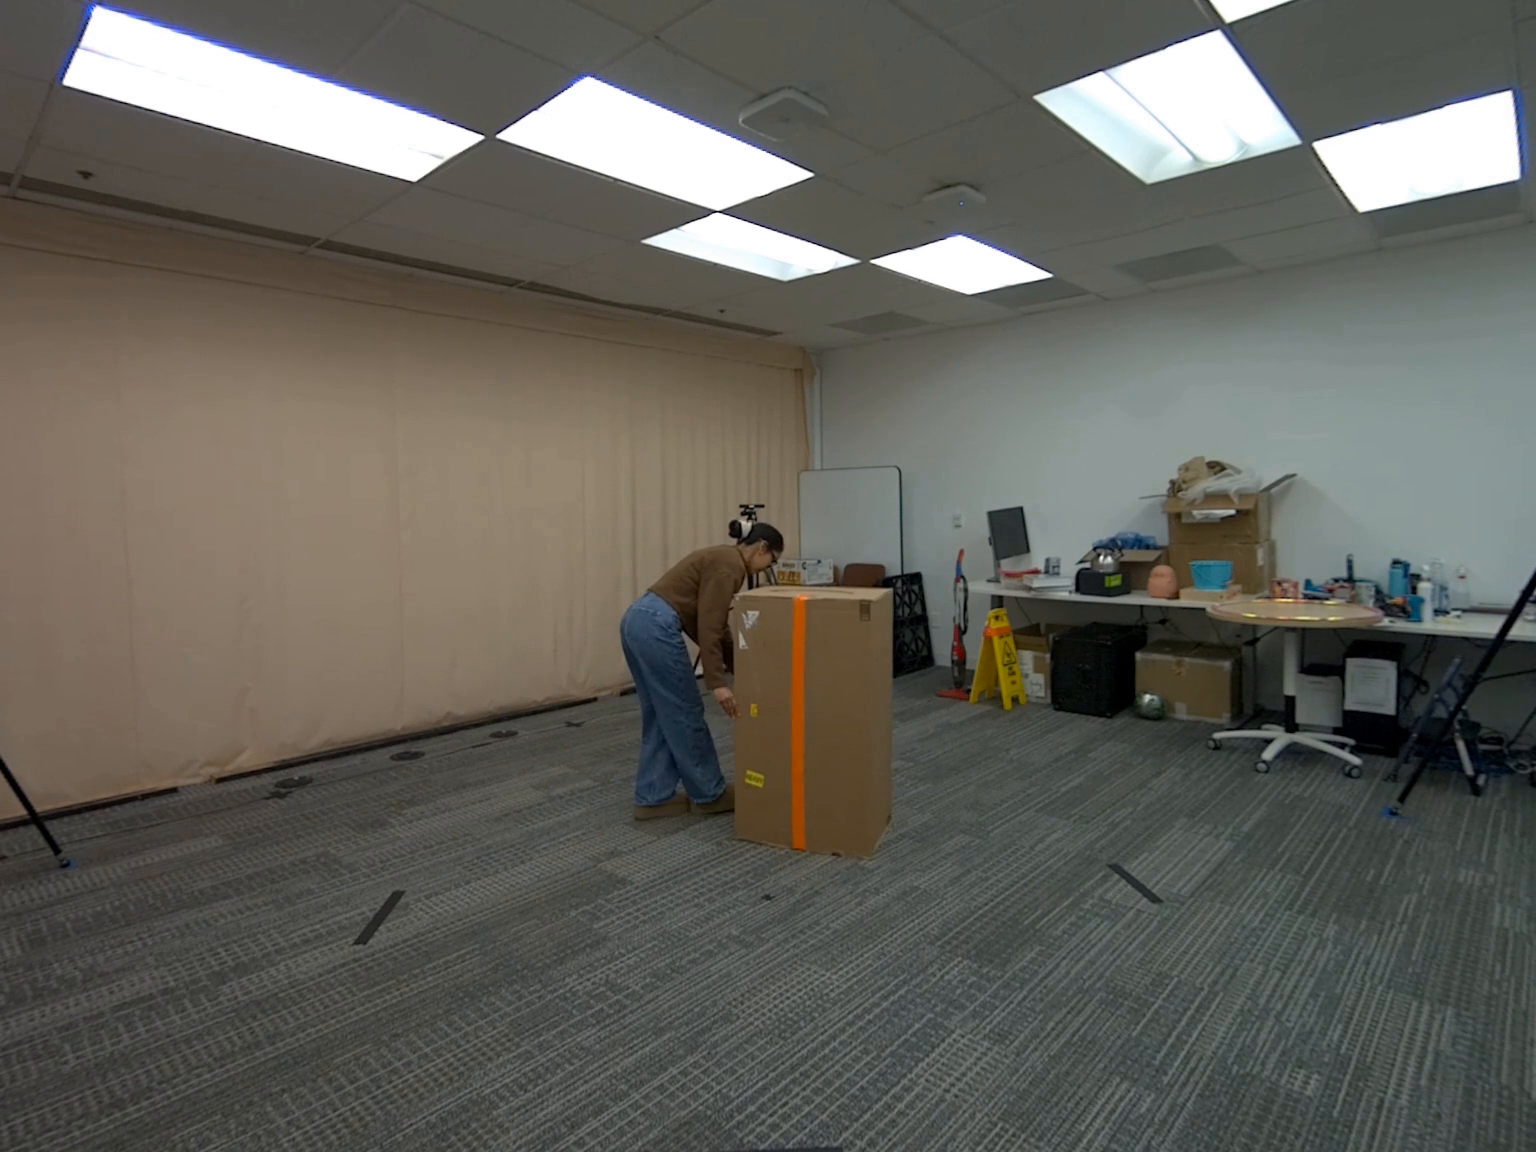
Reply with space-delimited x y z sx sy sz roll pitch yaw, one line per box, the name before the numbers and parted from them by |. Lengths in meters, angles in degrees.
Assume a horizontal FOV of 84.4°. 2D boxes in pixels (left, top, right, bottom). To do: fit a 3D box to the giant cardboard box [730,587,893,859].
giant cardboard box | 0.201 0.578 3.551 0.591 1.023 0.417 2 4 22
